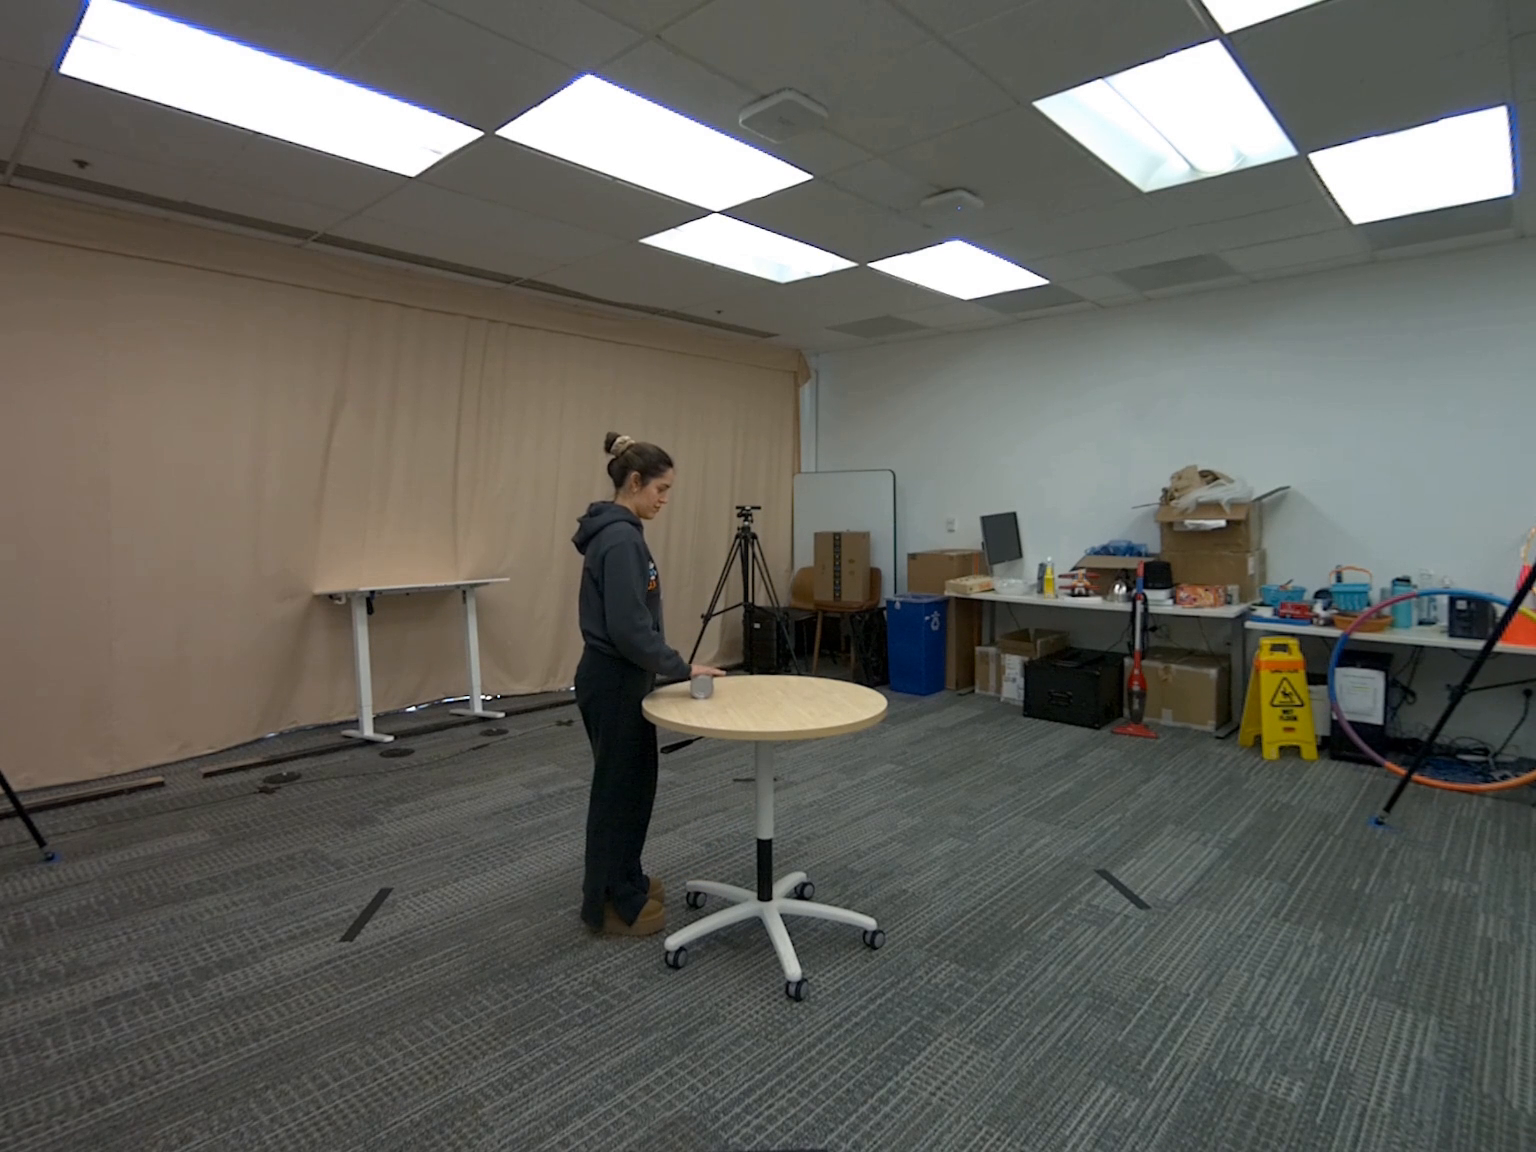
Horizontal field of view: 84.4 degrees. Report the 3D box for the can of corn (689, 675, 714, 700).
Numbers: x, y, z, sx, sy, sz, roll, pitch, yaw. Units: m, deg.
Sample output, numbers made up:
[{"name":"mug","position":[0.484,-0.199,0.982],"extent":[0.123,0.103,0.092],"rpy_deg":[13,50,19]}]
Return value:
[{"name":"can of corn","position":[-0.202,0.353,2.712],"extent":[0.074,0.074,0.111],"rpy_deg":[0,0,-1]}]
